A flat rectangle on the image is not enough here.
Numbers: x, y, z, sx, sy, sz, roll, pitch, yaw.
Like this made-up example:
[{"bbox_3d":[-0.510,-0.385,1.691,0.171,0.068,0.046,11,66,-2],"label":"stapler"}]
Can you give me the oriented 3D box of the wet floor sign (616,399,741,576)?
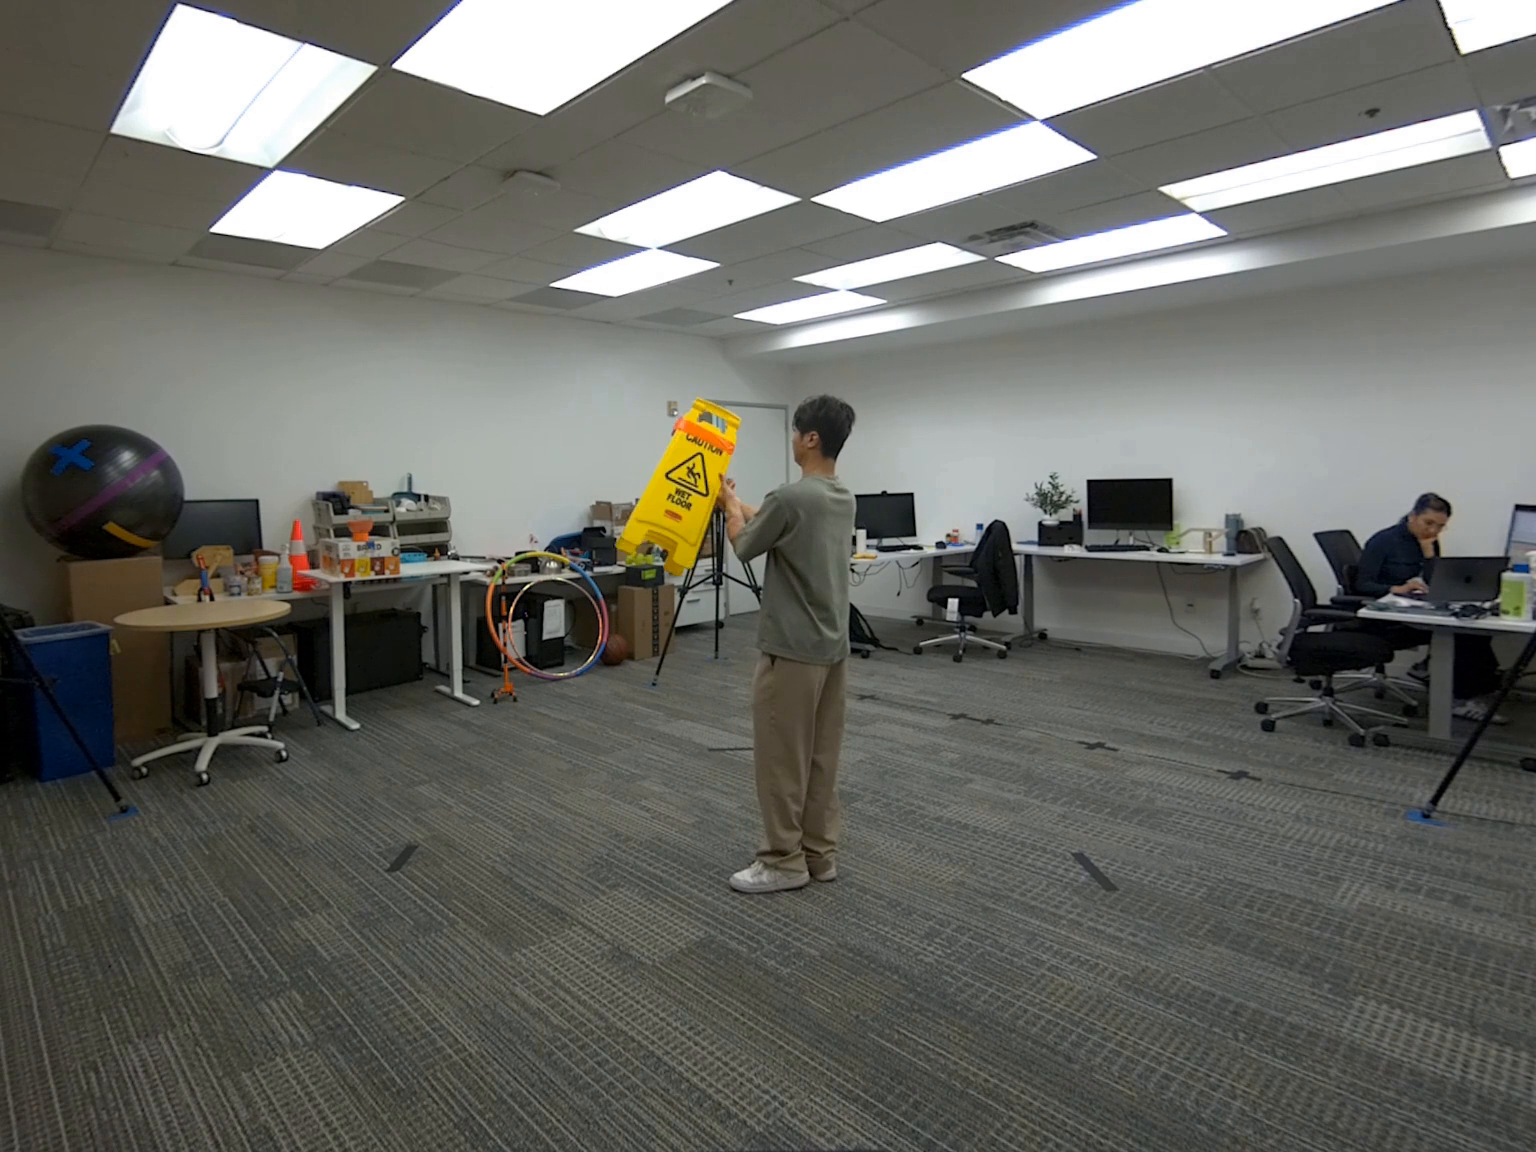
[{"bbox_3d":[-0.307,-0.360,3.246,0.280,0.650,0.290,24,-12,-7],"label":"wet floor sign"}]
